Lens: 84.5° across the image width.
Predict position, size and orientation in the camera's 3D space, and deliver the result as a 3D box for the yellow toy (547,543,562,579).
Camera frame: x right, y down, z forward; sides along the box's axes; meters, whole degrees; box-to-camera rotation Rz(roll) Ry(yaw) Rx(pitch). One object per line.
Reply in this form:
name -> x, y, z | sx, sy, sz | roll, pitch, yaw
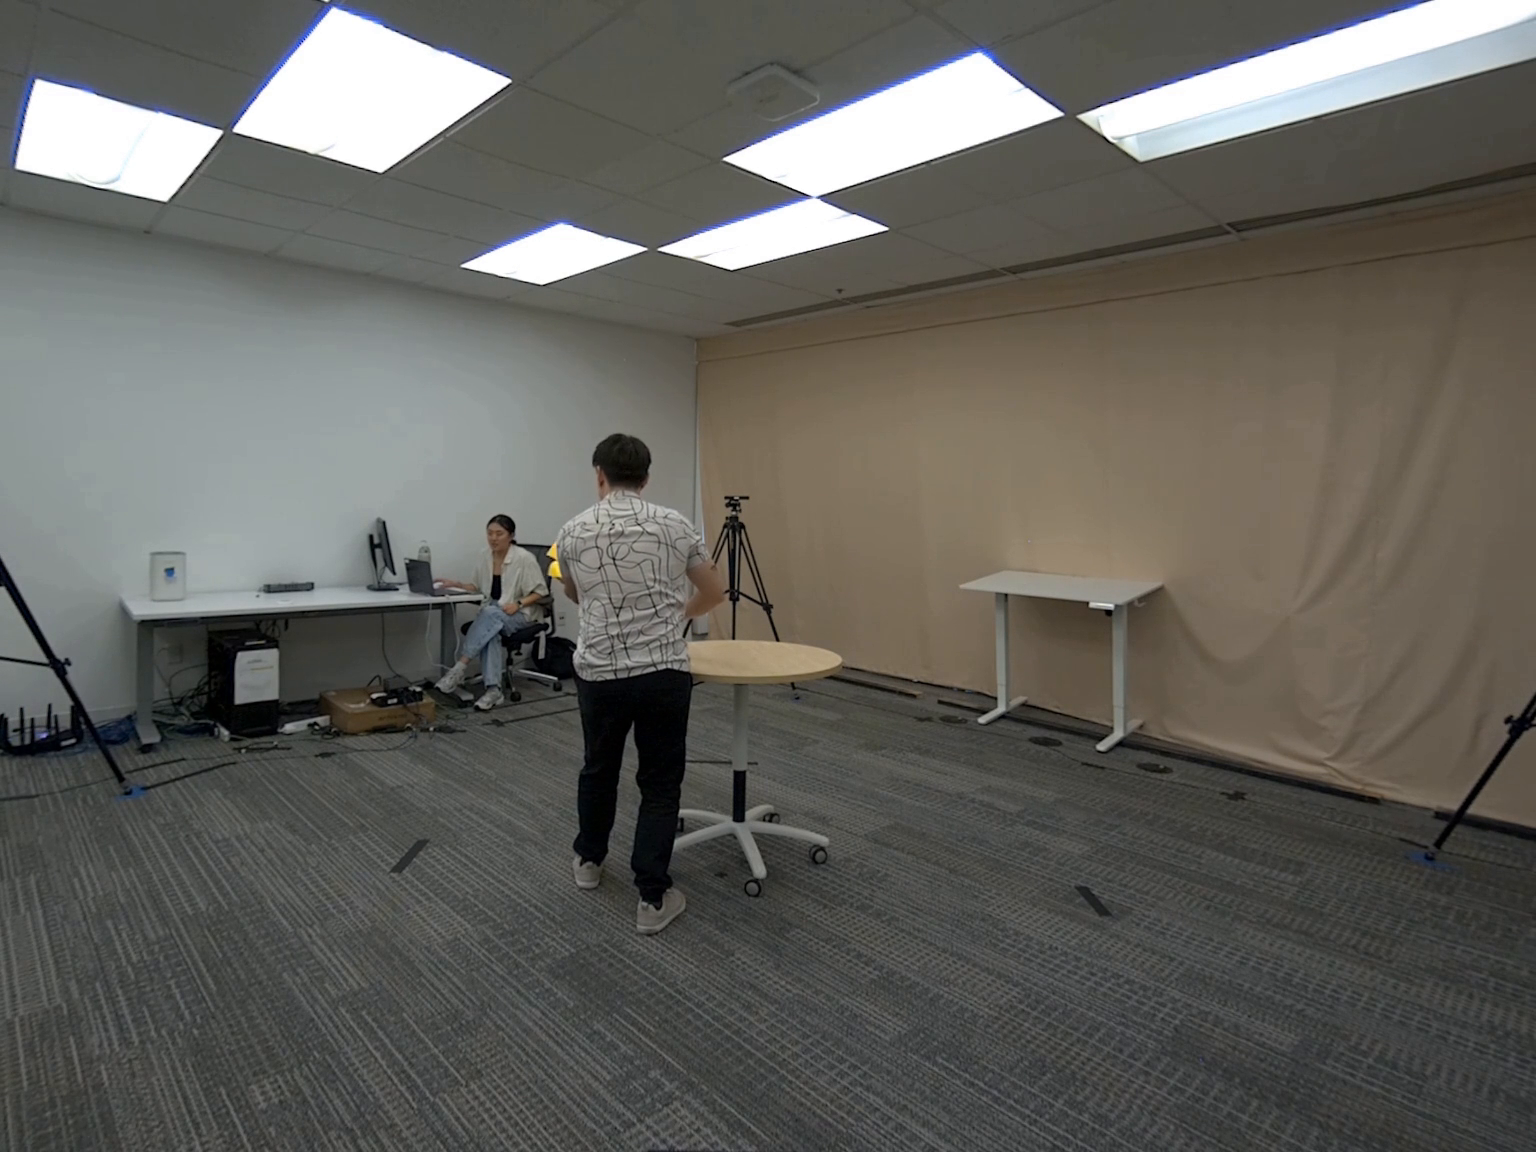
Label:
yellow toy -> -0.774, -0.108, 3.365 | 0.201, 0.231, 0.196 | 6, 0, -21
